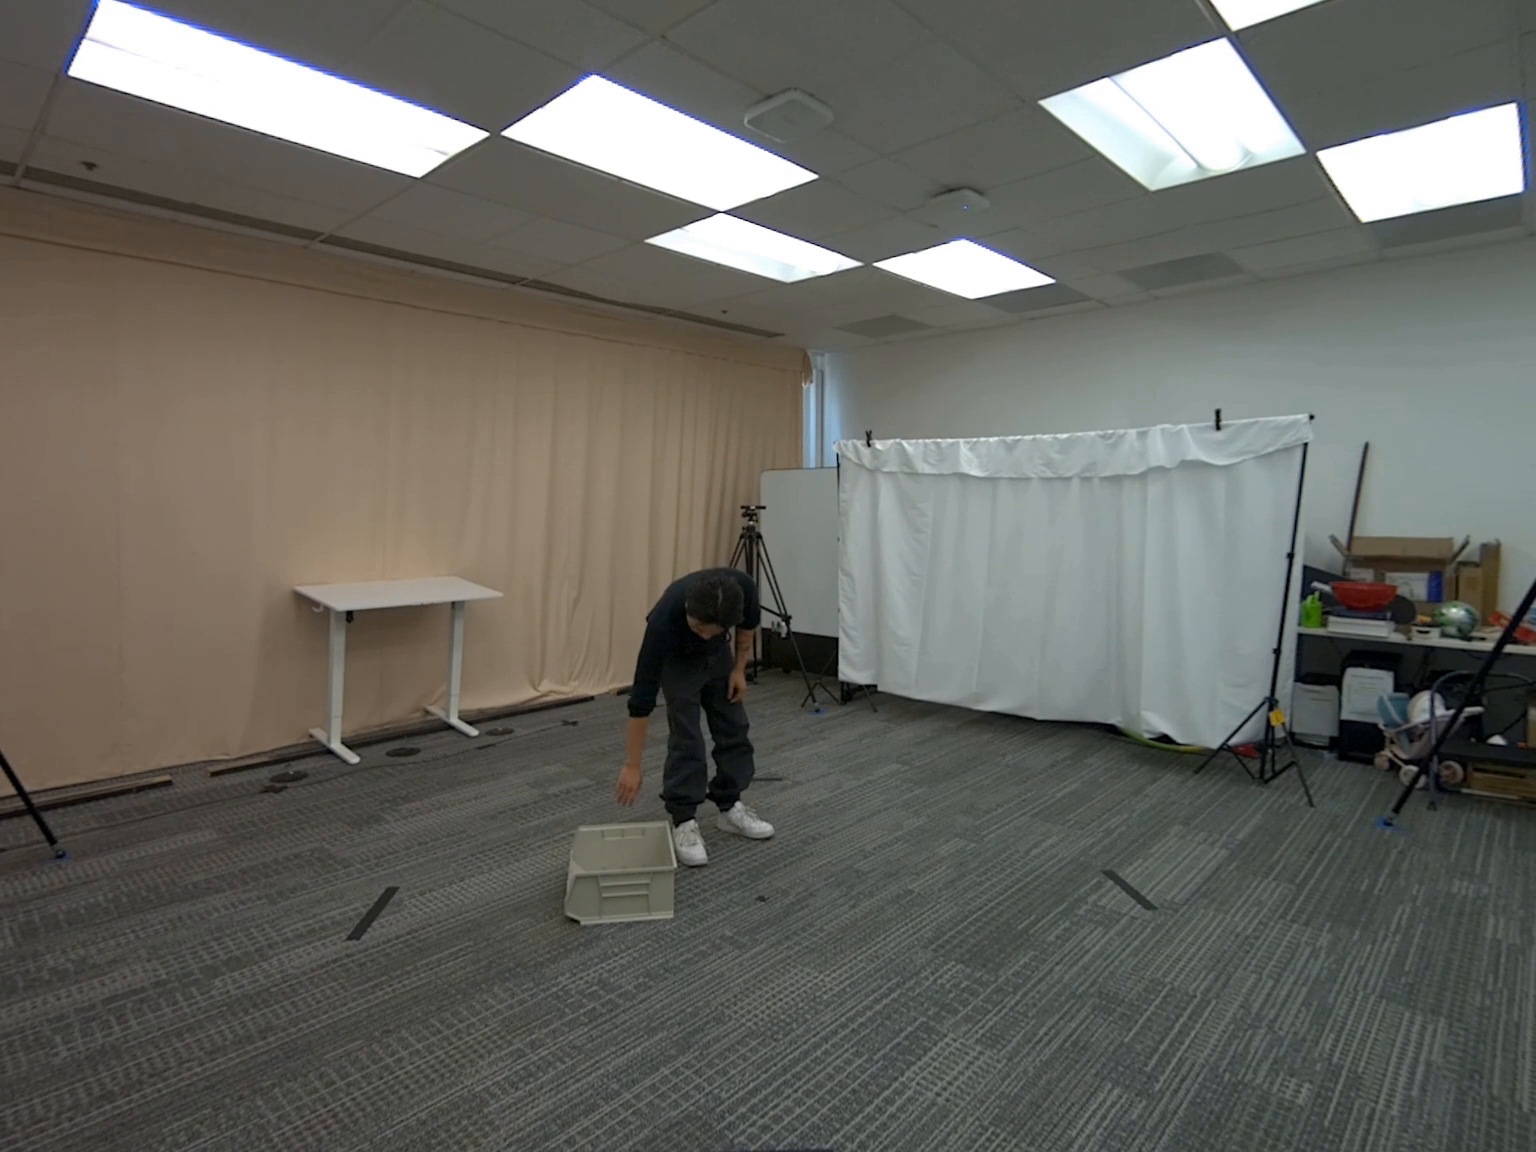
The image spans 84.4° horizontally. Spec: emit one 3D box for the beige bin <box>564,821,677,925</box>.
[{"bbox_3d":[-0.540,1.065,3.020,0.374,0.188,0.427,-1,4,-9],"label":"beige bin"}]
